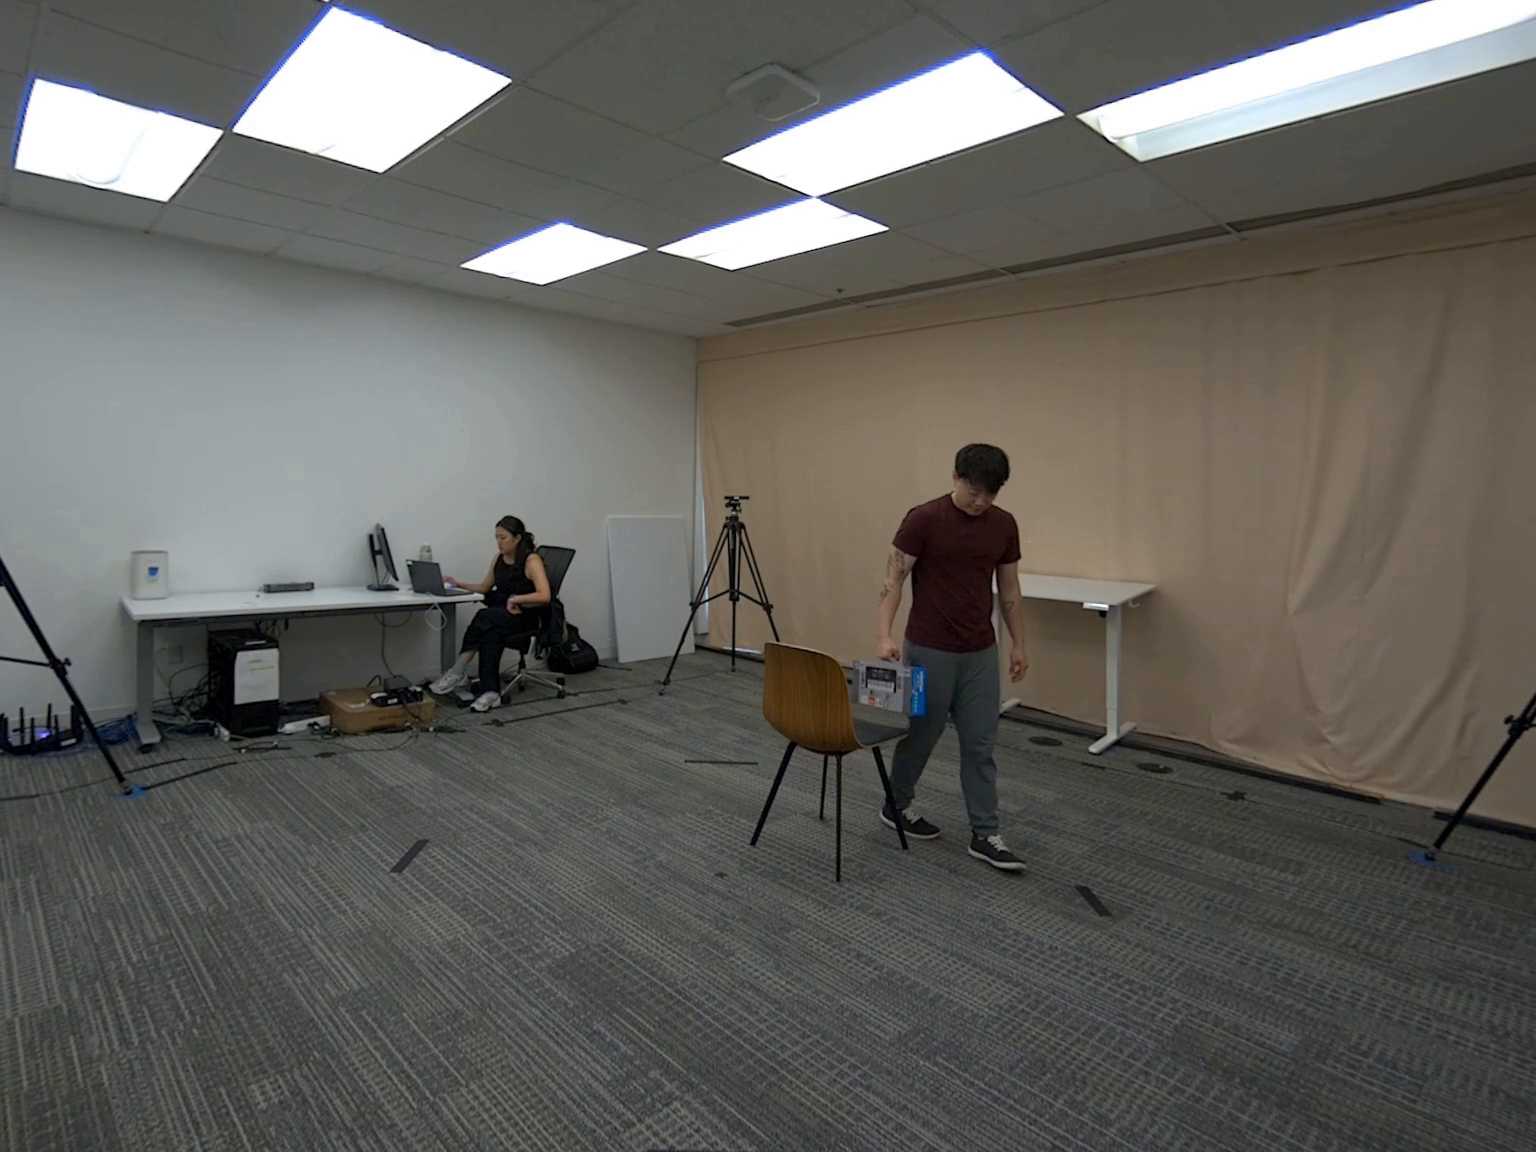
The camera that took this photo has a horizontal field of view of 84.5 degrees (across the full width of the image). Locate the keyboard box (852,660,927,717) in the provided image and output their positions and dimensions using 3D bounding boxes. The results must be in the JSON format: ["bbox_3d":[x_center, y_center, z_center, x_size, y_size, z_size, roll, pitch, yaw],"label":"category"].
[{"bbox_3d":[0.453,0.424,3.255,0.058,0.176,0.443,5,-4,-22],"label":"keyboard box"}]
